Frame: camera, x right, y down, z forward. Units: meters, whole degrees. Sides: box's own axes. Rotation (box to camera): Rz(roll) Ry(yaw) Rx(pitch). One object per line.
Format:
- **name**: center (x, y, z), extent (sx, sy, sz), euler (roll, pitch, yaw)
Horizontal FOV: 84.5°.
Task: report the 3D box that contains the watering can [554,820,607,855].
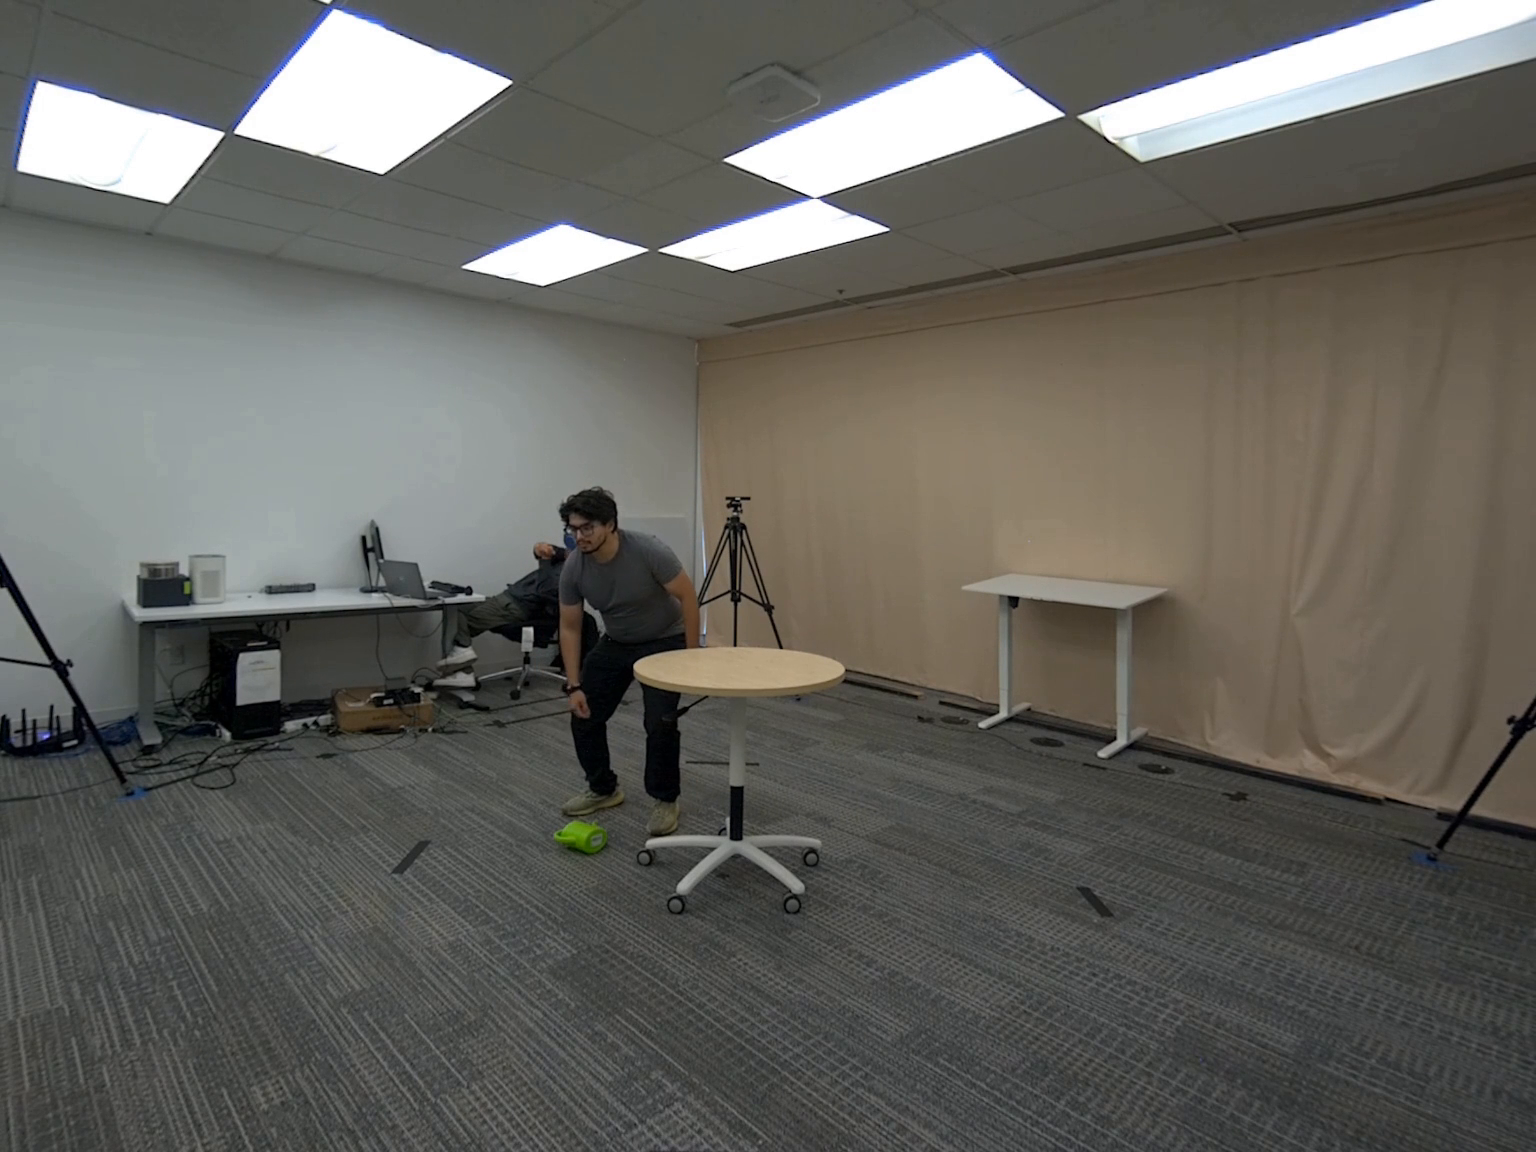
- **watering can**: center (-0.729, 1.021, 3.360), extent (0.181, 0.097, 0.274), euler (5, 12, 32)
